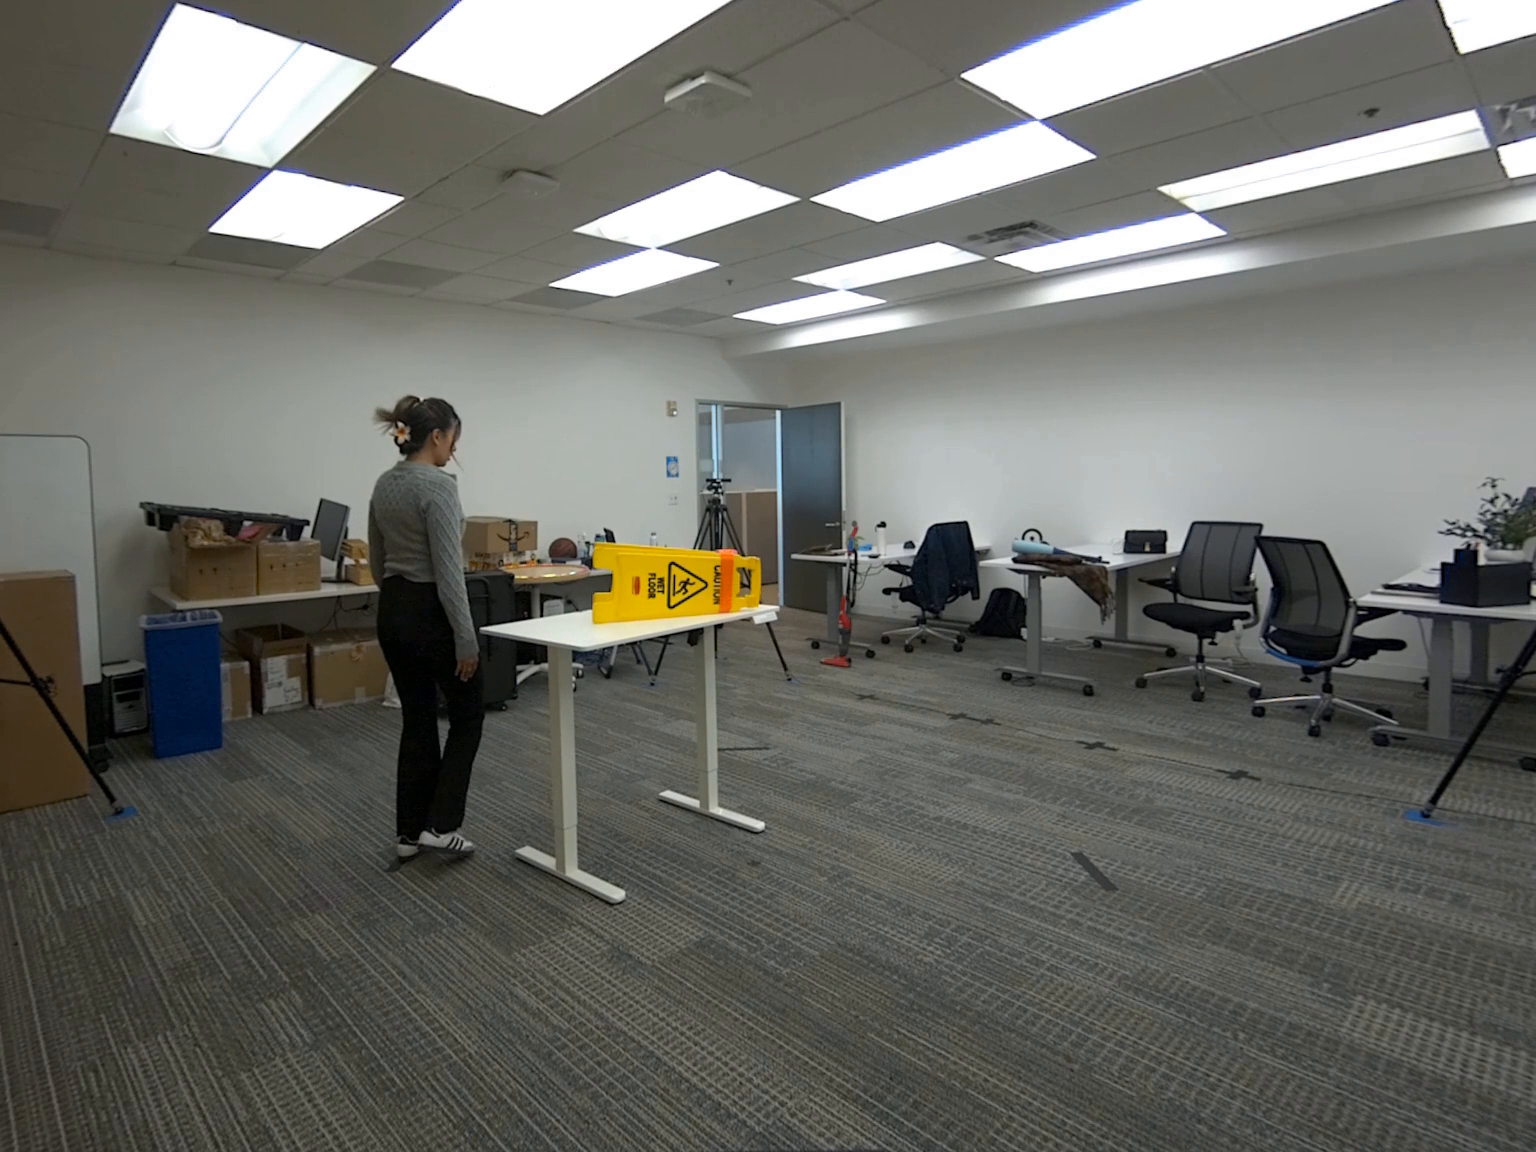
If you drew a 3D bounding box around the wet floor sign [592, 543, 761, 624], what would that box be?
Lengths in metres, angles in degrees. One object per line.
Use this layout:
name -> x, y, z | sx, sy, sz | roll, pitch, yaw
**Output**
wet floor sign -> -0.354, 0.026, 3.299 | 0.640, 0.281, 0.293 | 0, 5, -10
